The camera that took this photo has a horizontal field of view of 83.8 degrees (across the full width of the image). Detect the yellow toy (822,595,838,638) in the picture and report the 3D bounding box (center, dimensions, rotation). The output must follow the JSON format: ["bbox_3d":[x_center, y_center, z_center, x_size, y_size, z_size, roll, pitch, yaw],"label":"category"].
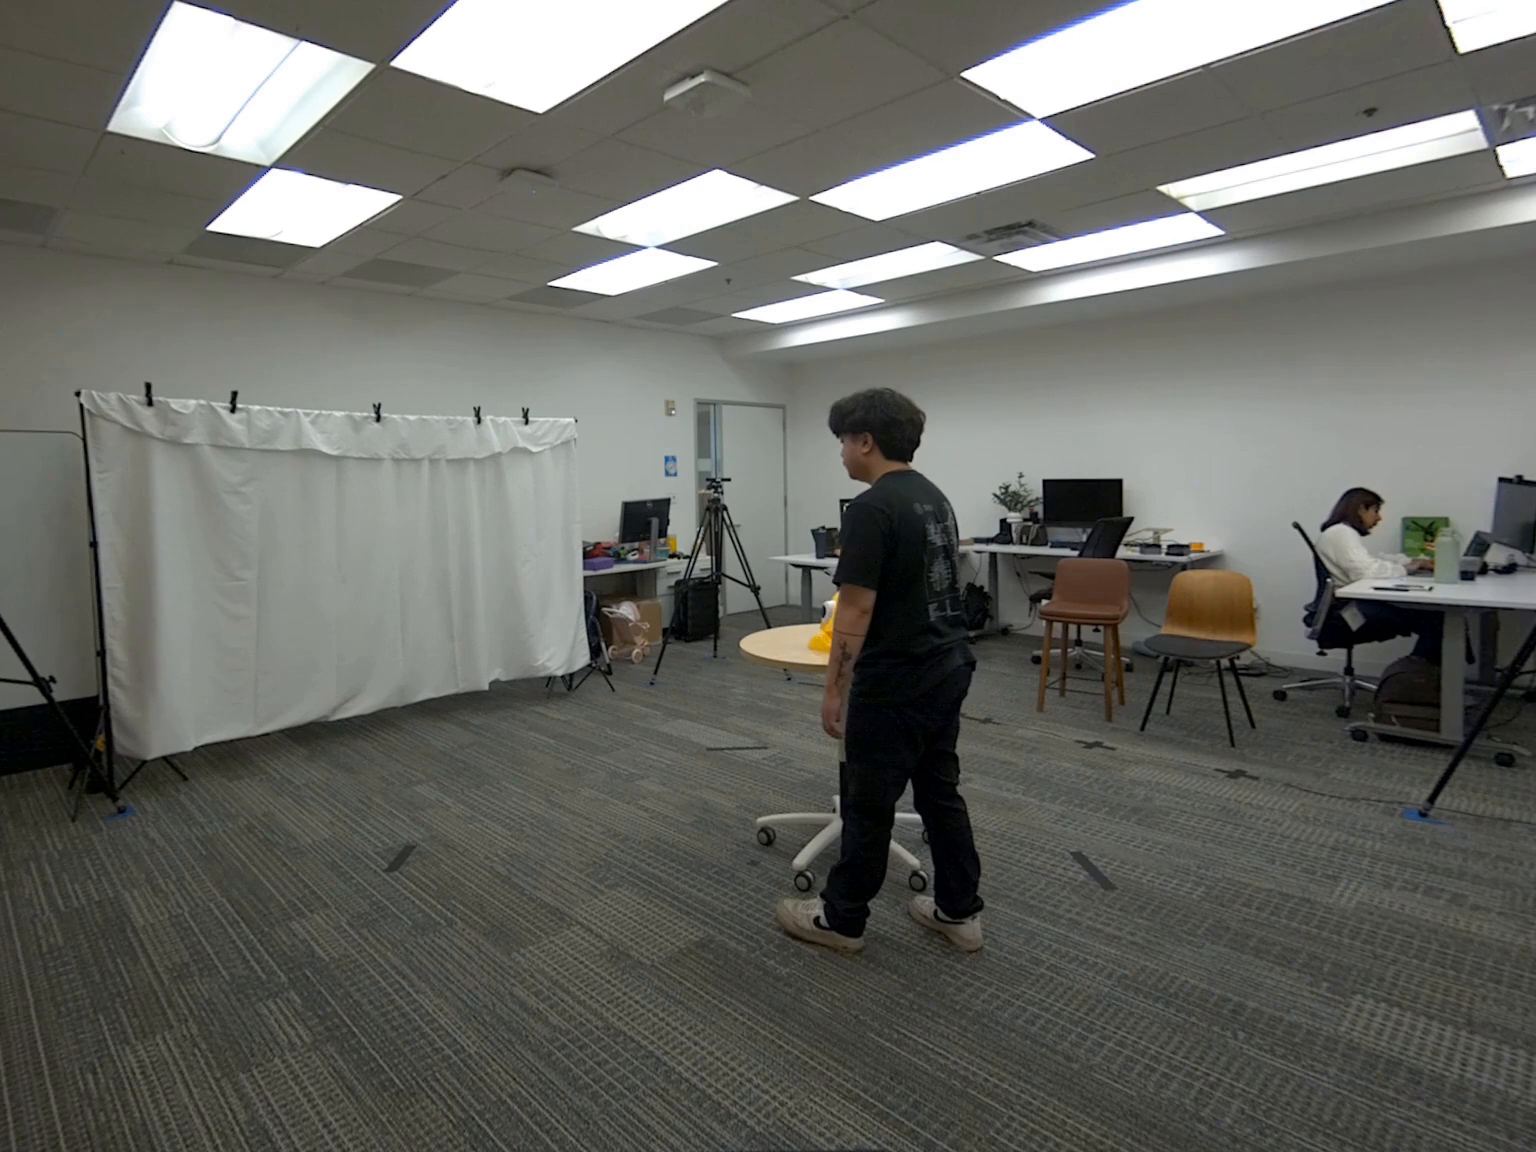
[{"bbox_3d":[0.260,0.136,3.041,0.199,0.230,0.199,-6,6,-43],"label":"yellow toy"}]
